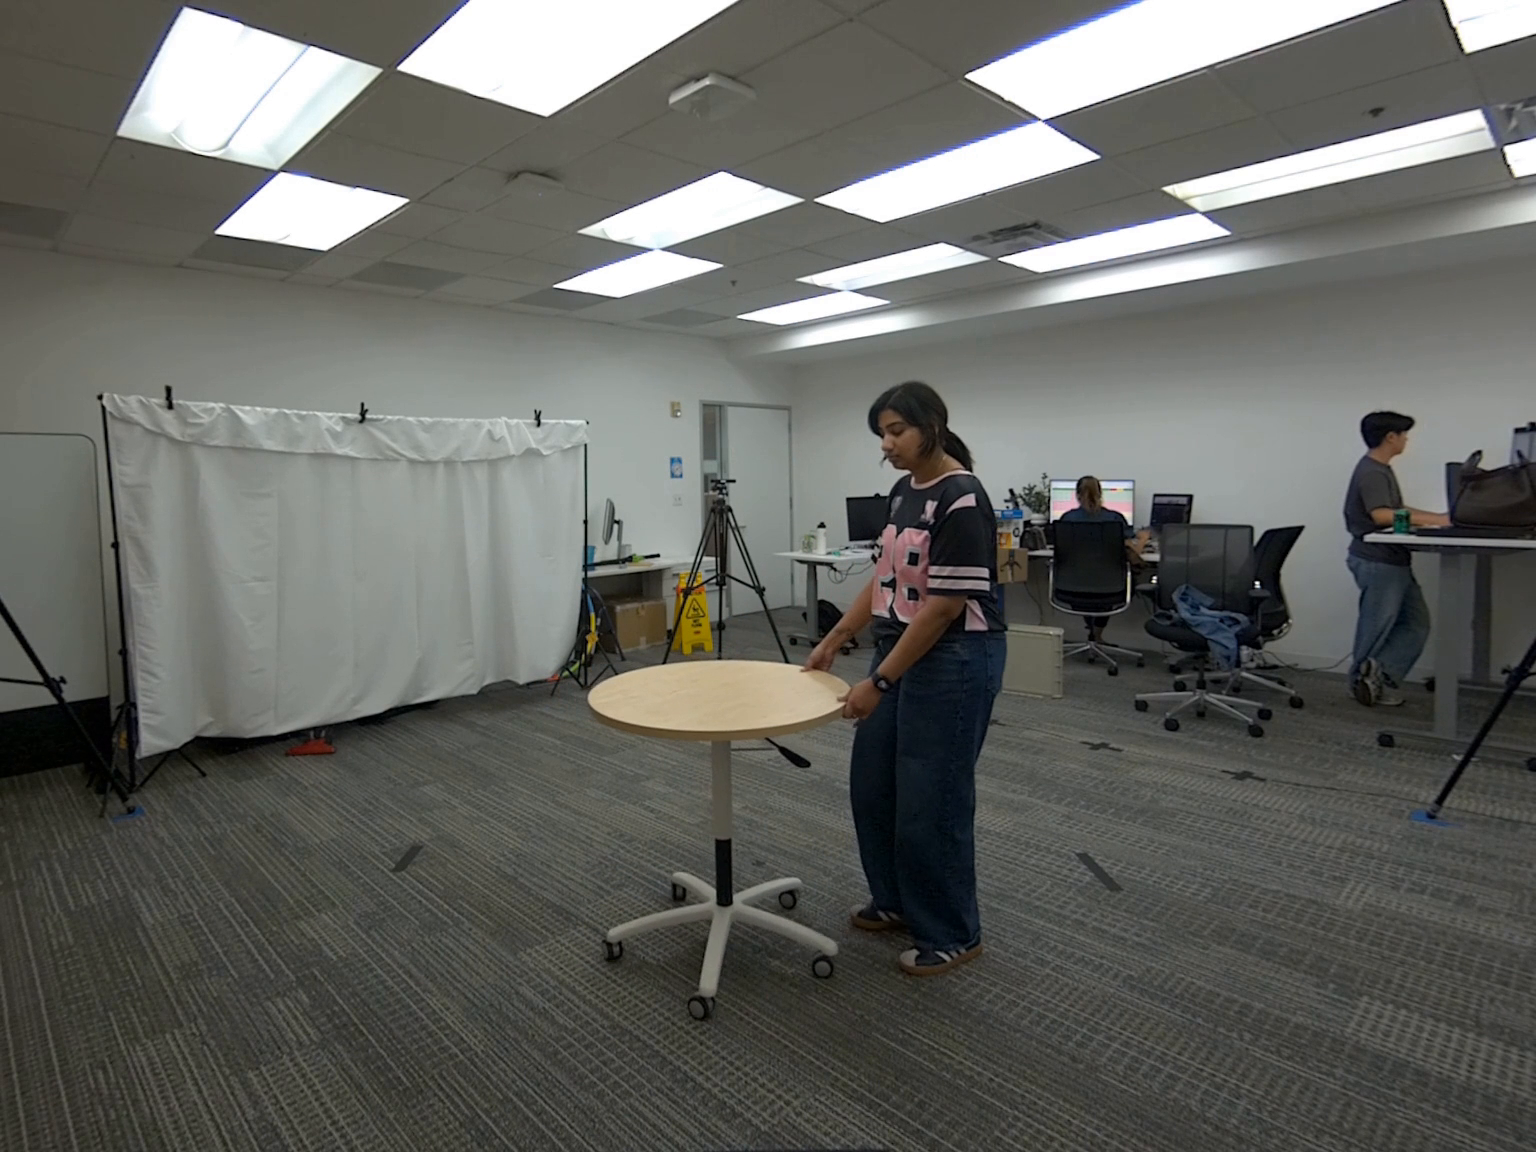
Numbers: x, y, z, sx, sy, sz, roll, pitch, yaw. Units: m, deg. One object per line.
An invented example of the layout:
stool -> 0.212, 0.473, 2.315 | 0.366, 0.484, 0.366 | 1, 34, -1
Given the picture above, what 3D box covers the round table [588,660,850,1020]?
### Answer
round table -> -0.129, 0.727, 2.535 | 0.763, 0.790, 0.769 | -1, 6, -2
